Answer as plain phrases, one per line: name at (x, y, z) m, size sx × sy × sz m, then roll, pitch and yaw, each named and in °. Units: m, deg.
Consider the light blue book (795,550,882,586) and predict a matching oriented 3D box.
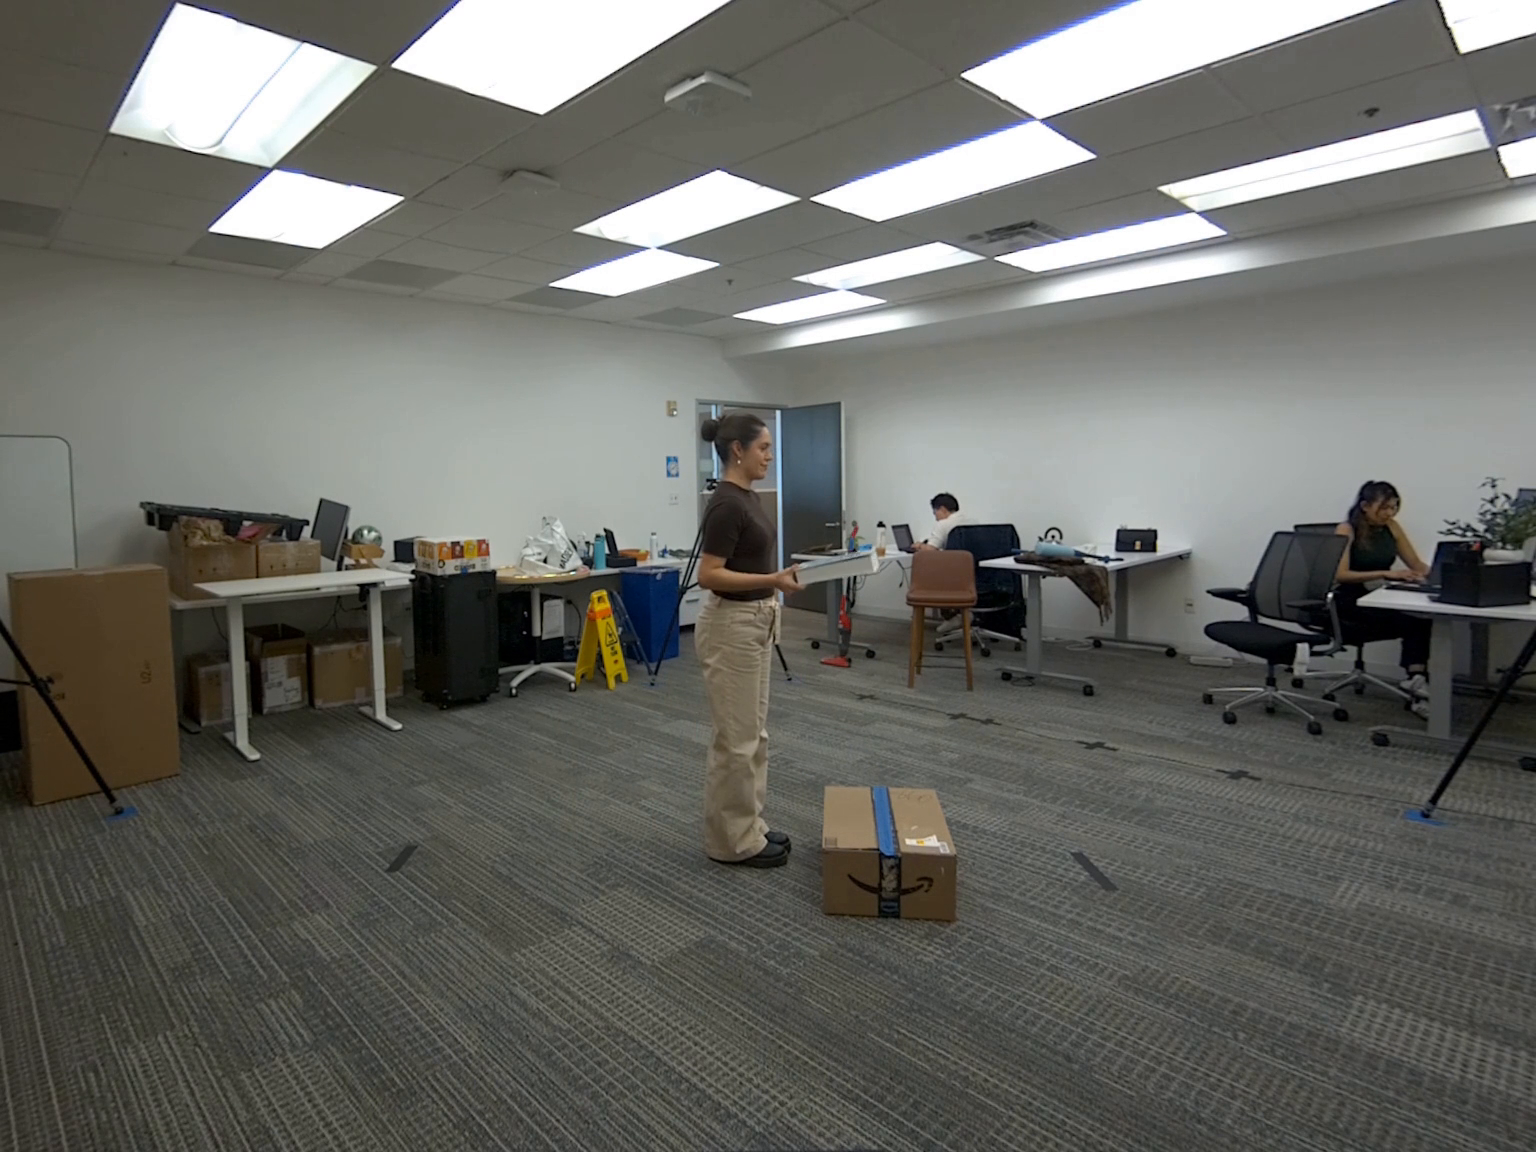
light blue book at (0.226, -0.020, 2.886) m, size 0.264 × 0.059 × 0.190 m, roll -11°, pitch 6°, yaw 13°
